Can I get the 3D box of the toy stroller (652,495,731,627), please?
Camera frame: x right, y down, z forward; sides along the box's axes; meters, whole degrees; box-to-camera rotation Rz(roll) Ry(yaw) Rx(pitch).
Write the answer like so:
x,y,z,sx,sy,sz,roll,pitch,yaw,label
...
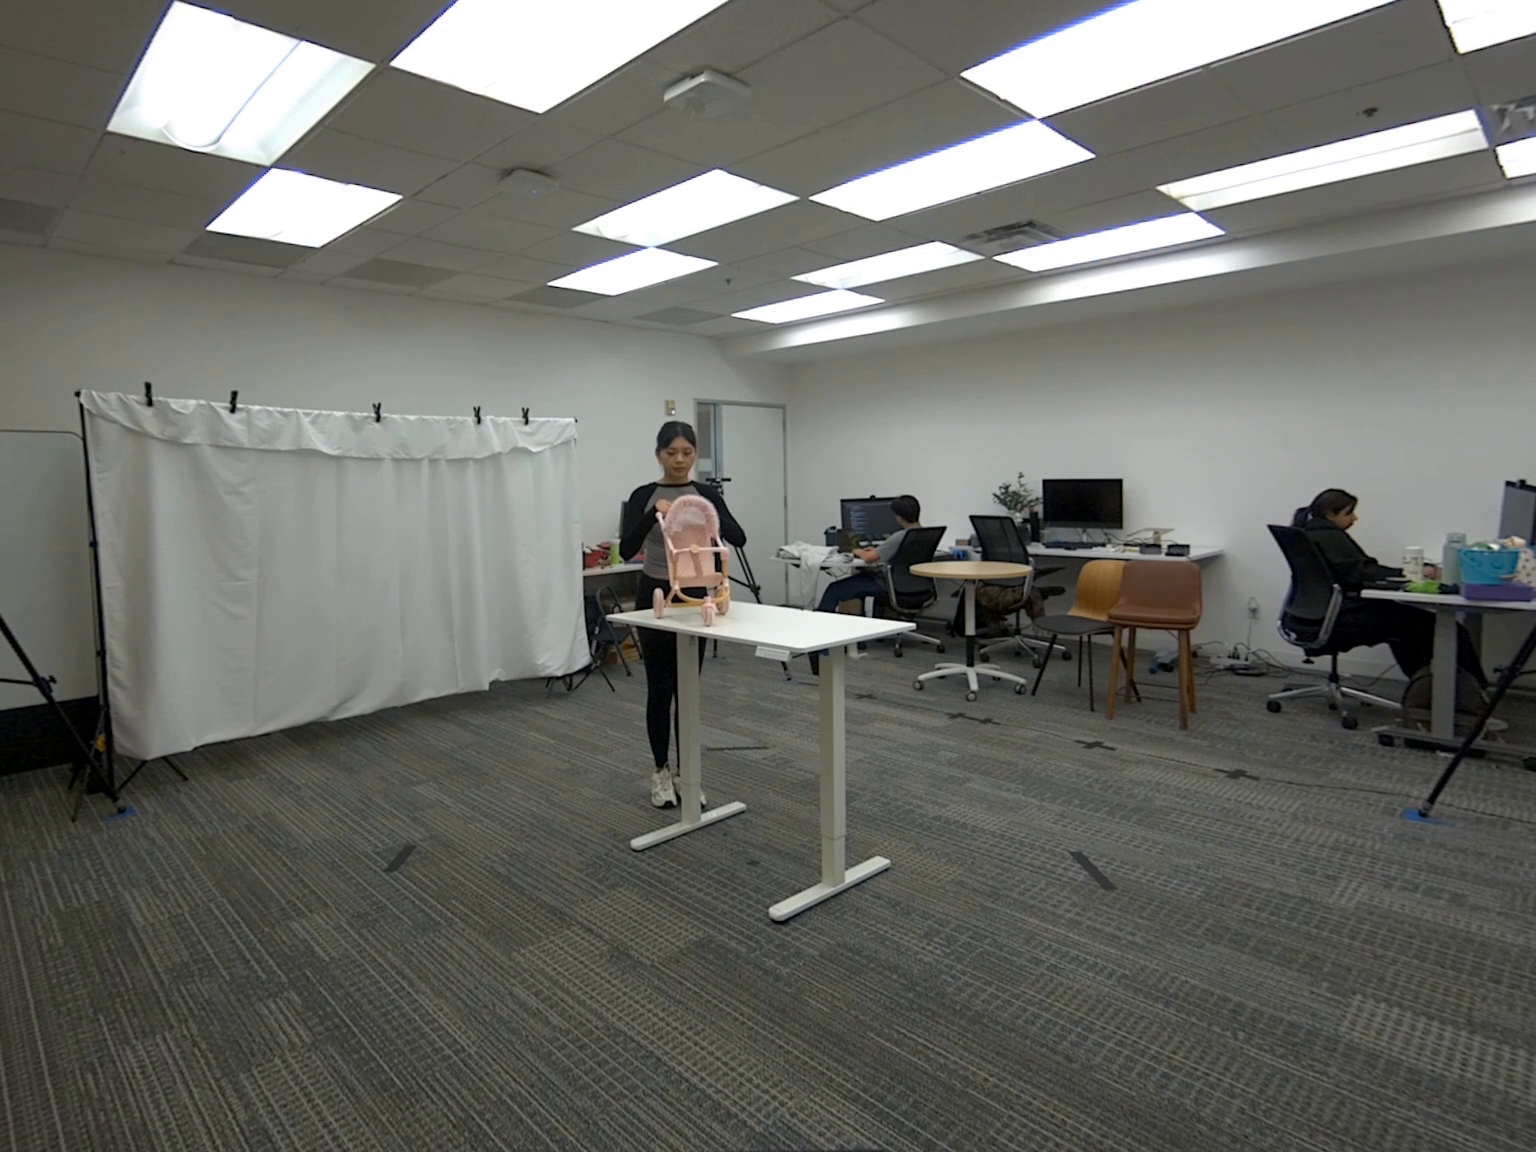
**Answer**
x,y,z,sx,sy,sz,roll,pitch,yaw,label
-0.276,-0.061,3.156,0.278,0.542,0.341,-2,-13,-15,toy stroller
